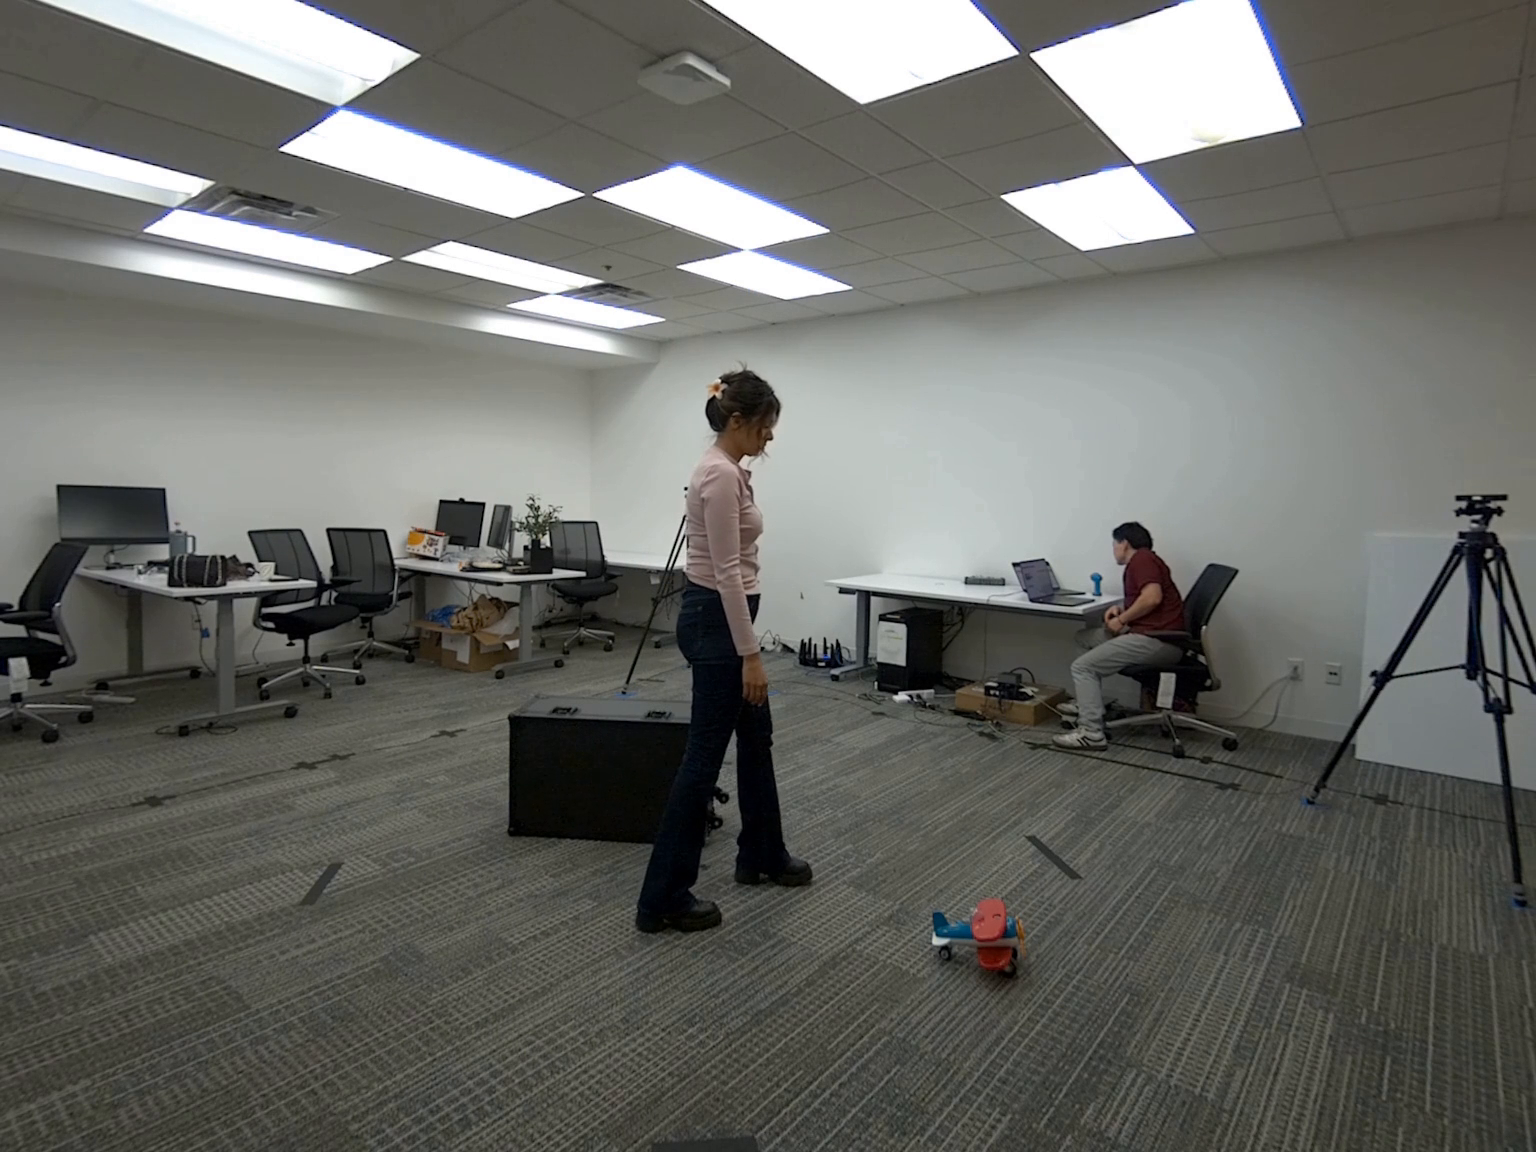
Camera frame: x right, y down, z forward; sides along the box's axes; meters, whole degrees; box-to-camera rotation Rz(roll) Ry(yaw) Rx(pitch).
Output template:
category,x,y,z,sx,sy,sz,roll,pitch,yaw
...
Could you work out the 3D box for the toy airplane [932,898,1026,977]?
category,x,y,z,sx,sy,sz,roll,pitch,yaw
toy airplane,0.615,1.075,2.498,0.257,0.156,0.255,1,5,-10
